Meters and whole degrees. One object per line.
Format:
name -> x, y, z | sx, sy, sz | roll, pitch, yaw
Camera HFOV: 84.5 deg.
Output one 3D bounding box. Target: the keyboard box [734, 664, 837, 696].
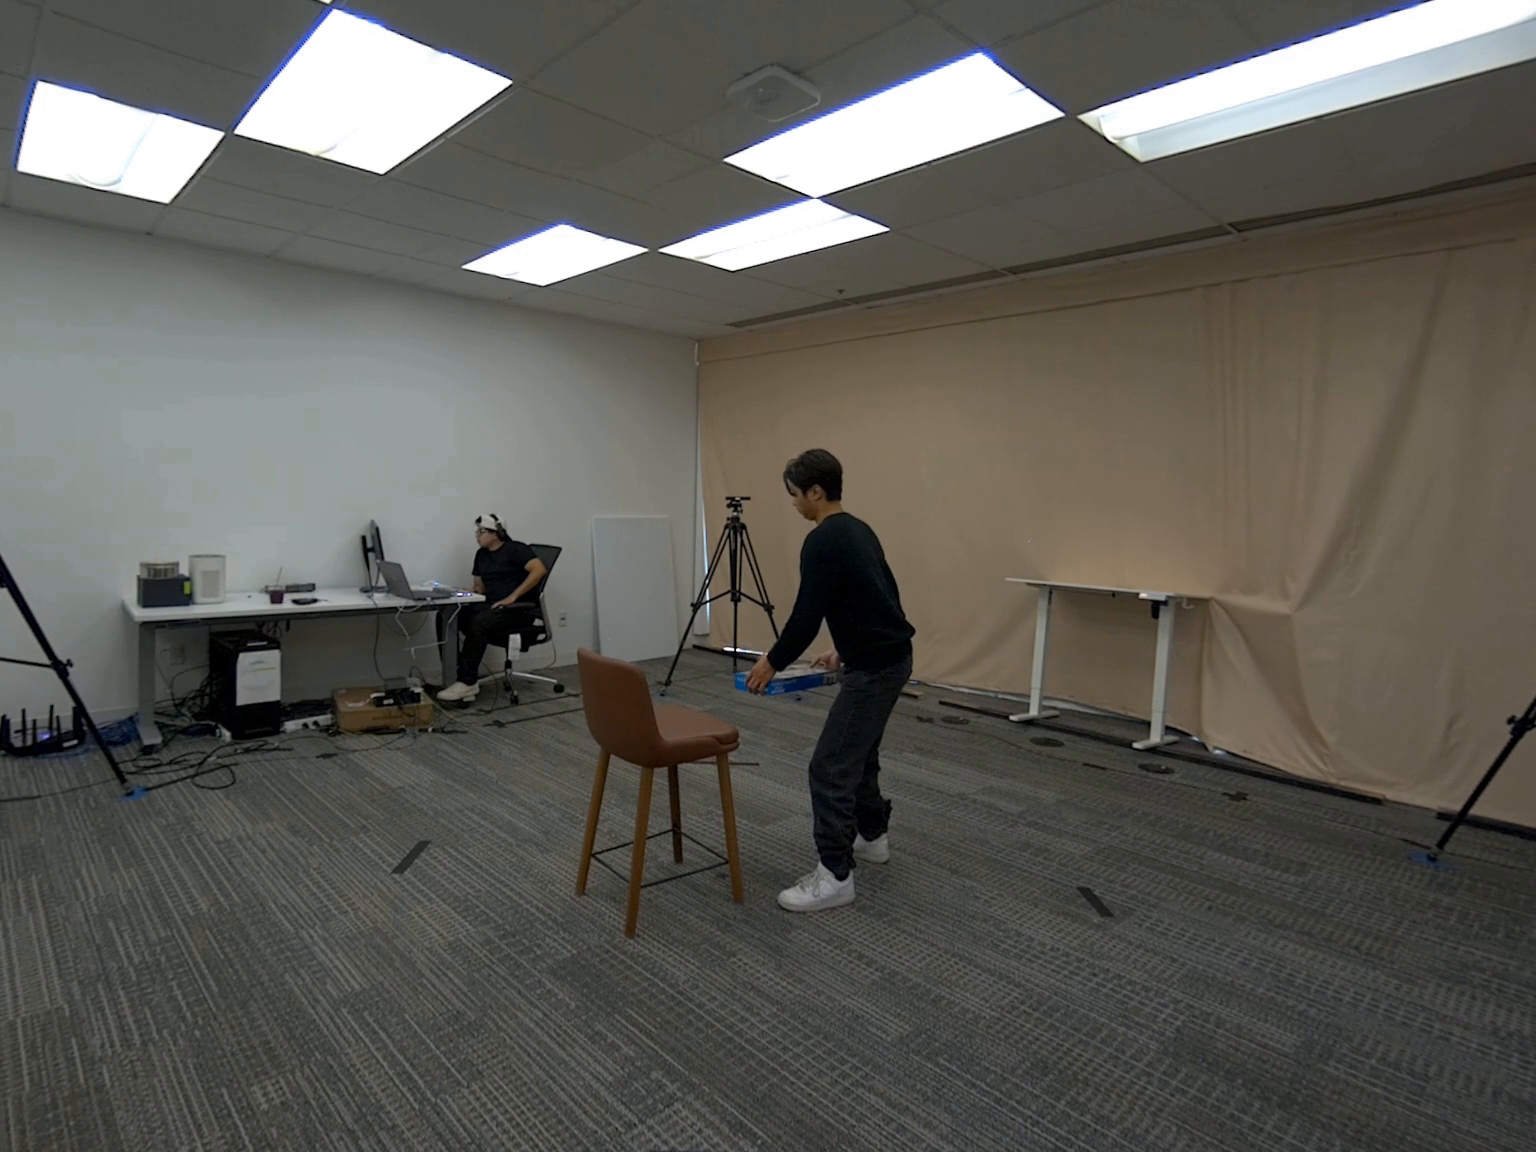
keyboard box -> 0.079, 0.403, 3.294 | 0.180, 0.059, 0.426 | 6, 4, 41
